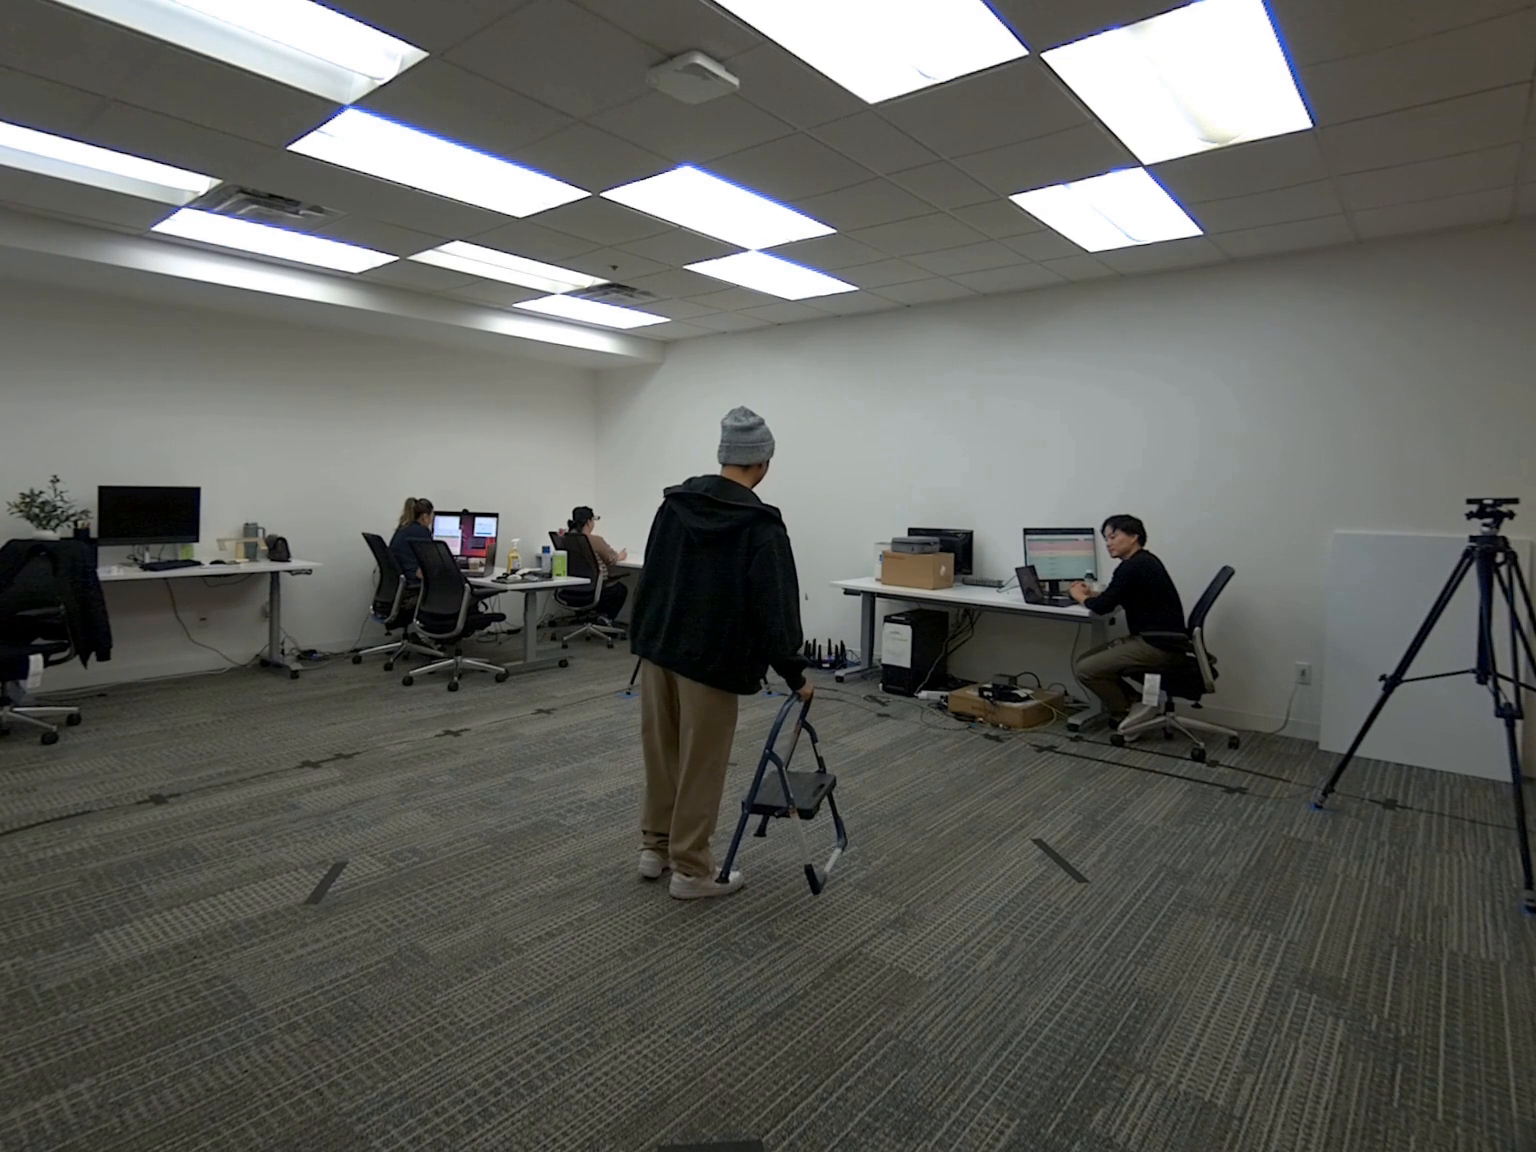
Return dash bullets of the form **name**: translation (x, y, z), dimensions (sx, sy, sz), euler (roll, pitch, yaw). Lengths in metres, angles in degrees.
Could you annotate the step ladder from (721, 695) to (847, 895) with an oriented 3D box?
- **step ladder**: translation (0.045, 0.676, 2.885), dimensions (0.356, 0.604, 0.423), euler (-1, 3, 19)
